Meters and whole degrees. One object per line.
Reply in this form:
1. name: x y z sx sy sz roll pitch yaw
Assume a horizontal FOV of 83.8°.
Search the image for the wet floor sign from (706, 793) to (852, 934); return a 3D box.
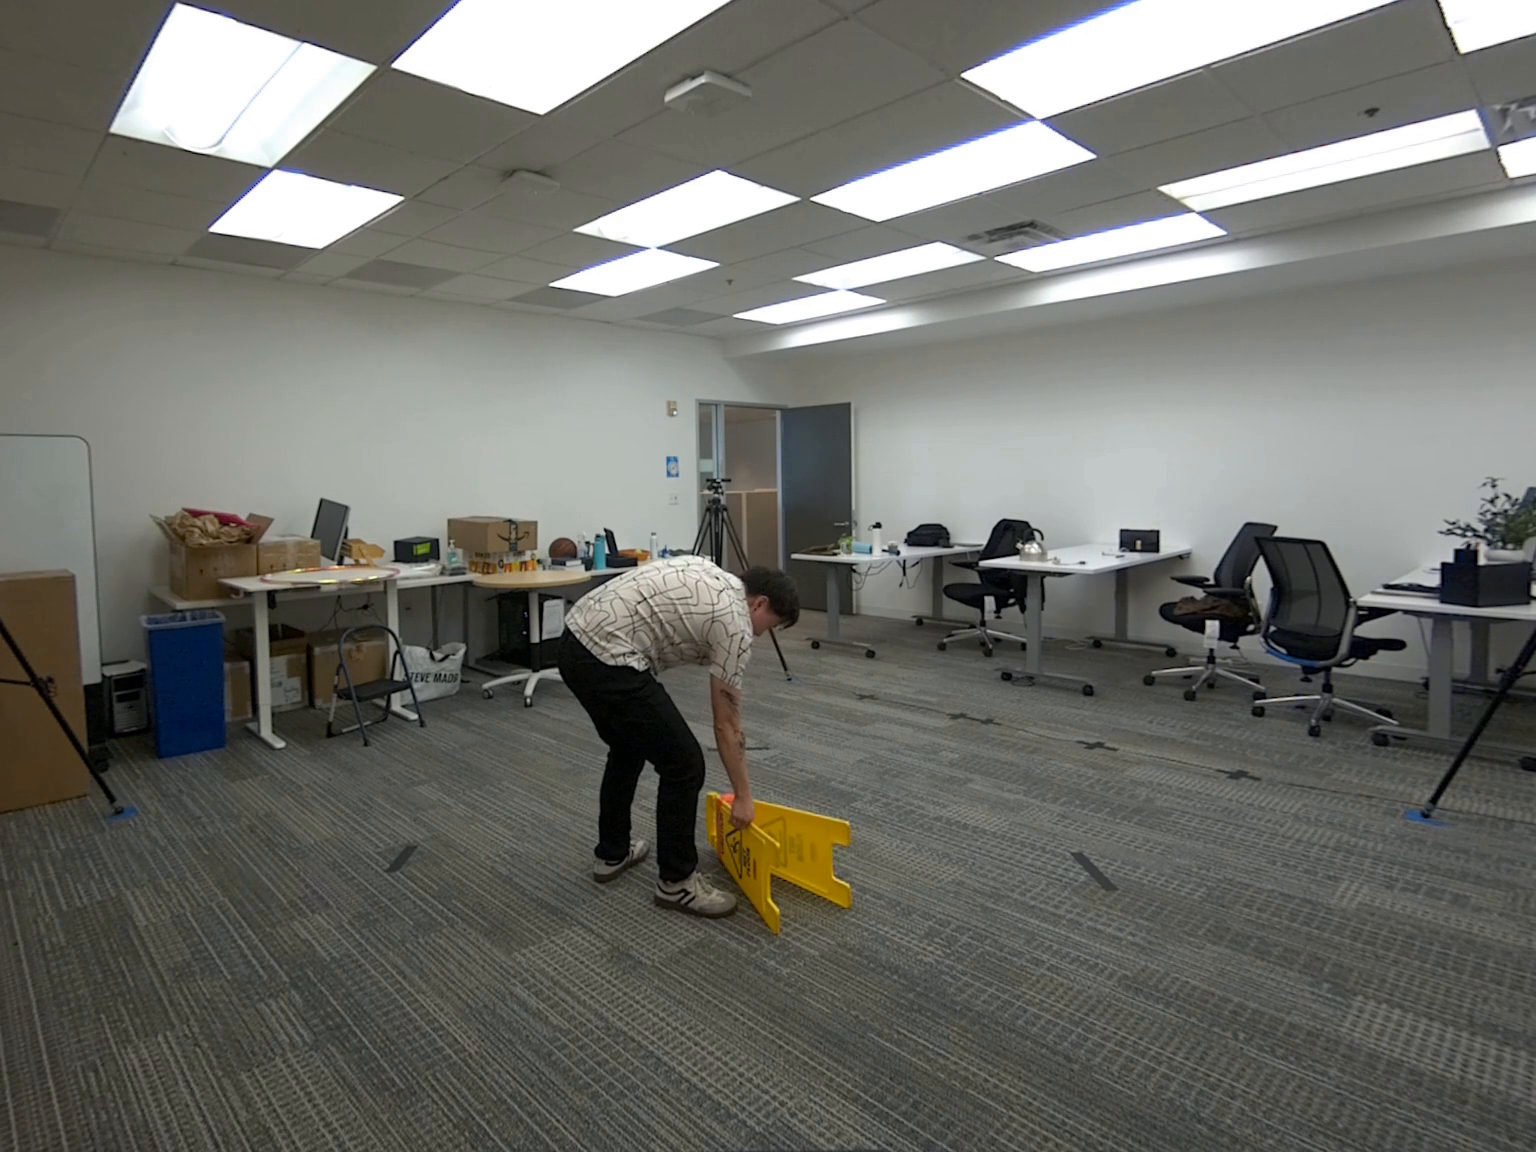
1. wet floor sign: -0.035 0.931 2.956 0.282 0.281 0.664 -4 5 -34
